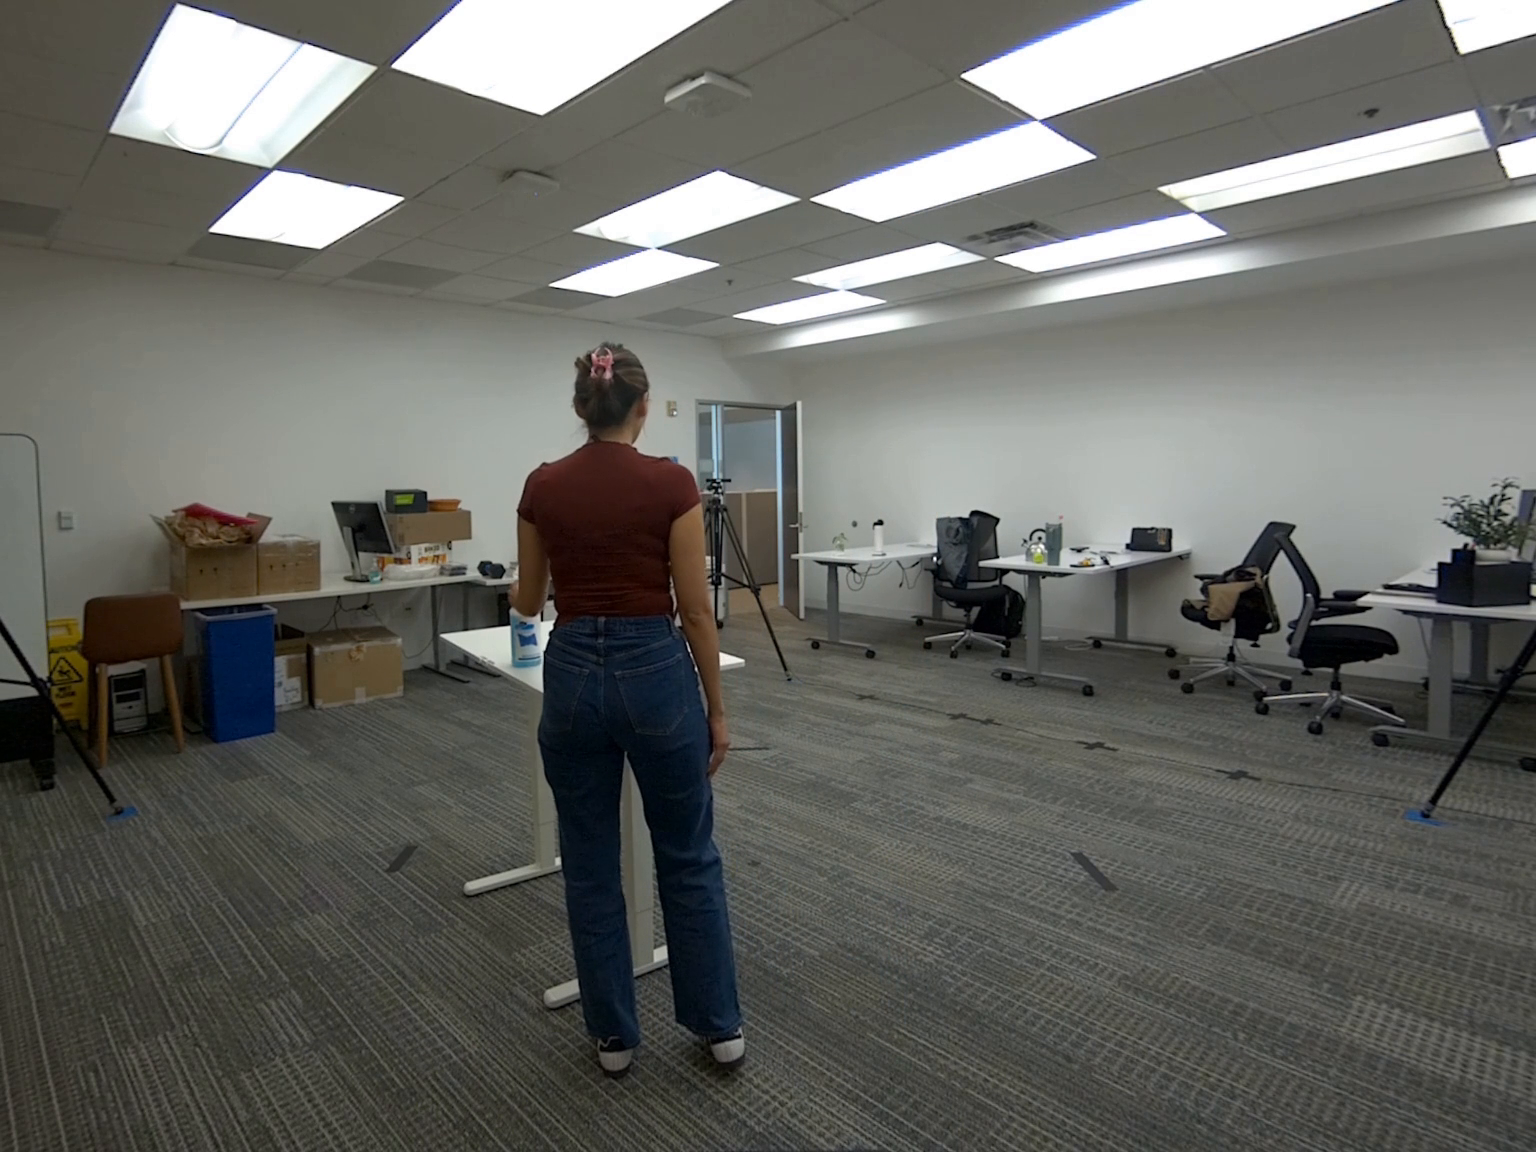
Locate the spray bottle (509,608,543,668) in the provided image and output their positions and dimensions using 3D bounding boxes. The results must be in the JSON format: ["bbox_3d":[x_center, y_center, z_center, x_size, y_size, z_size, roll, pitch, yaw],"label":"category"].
[{"bbox_3d":[-0.698,0.109,2.444,0.090,0.296,0.087,5,6,40],"label":"spray bottle"}]
